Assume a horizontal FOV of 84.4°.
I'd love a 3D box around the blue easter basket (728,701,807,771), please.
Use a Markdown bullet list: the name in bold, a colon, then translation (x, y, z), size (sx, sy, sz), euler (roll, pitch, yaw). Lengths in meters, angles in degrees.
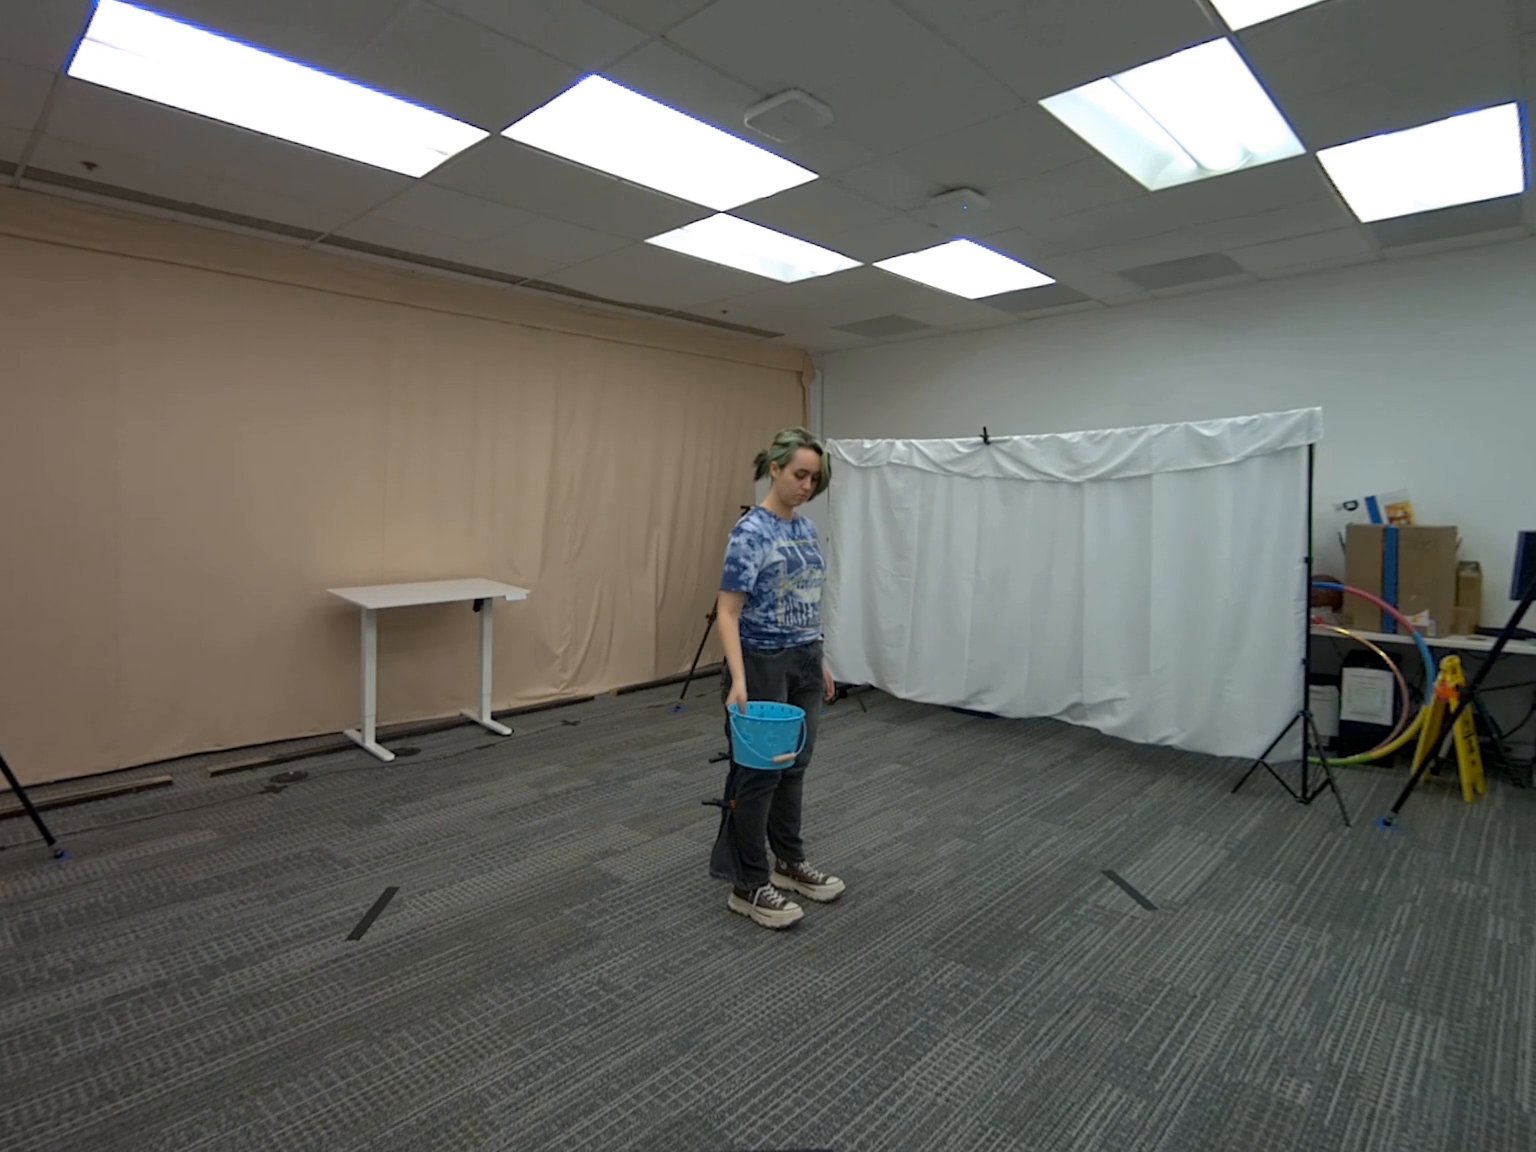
- **blue easter basket**: translation (-0.013, 0.469, 2.523), size (0.243, 0.155, 0.244), euler (2, 3, -2)
